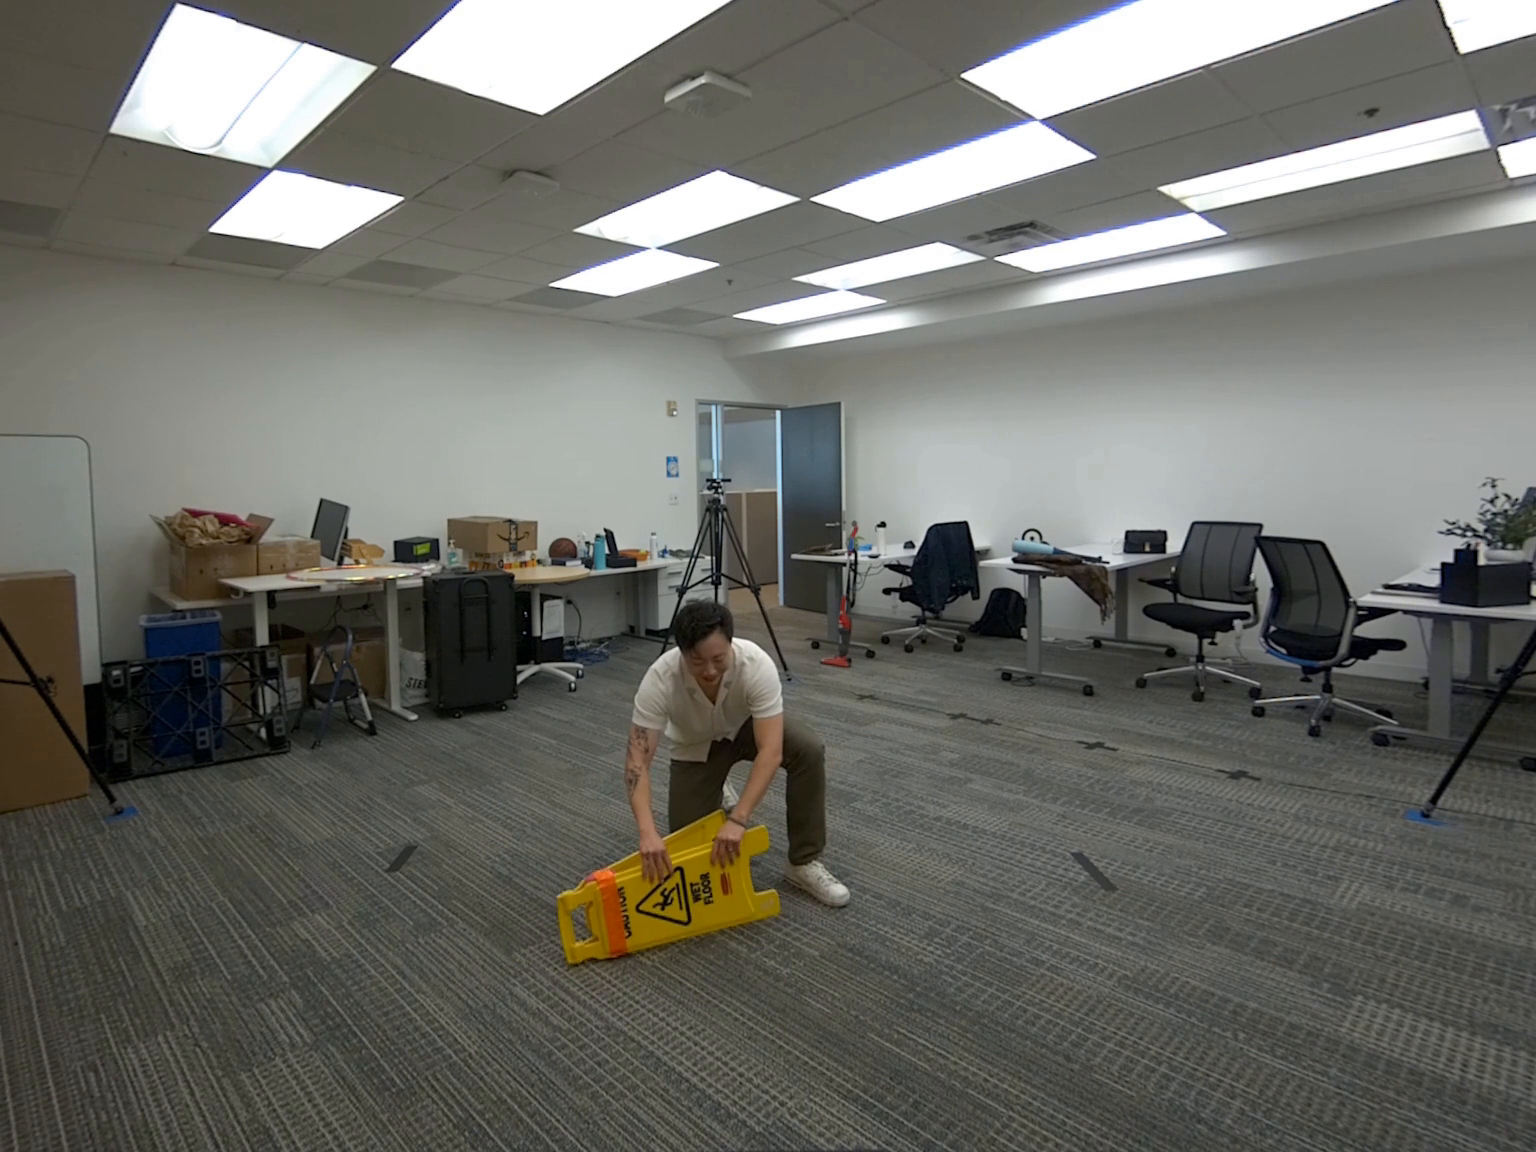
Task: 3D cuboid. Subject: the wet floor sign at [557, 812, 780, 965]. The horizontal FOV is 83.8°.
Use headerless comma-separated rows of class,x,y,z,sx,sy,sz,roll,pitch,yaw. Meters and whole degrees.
wet floor sign,-0.319,0.968,2.626,0.633,0.282,0.295,-11,0,-30
